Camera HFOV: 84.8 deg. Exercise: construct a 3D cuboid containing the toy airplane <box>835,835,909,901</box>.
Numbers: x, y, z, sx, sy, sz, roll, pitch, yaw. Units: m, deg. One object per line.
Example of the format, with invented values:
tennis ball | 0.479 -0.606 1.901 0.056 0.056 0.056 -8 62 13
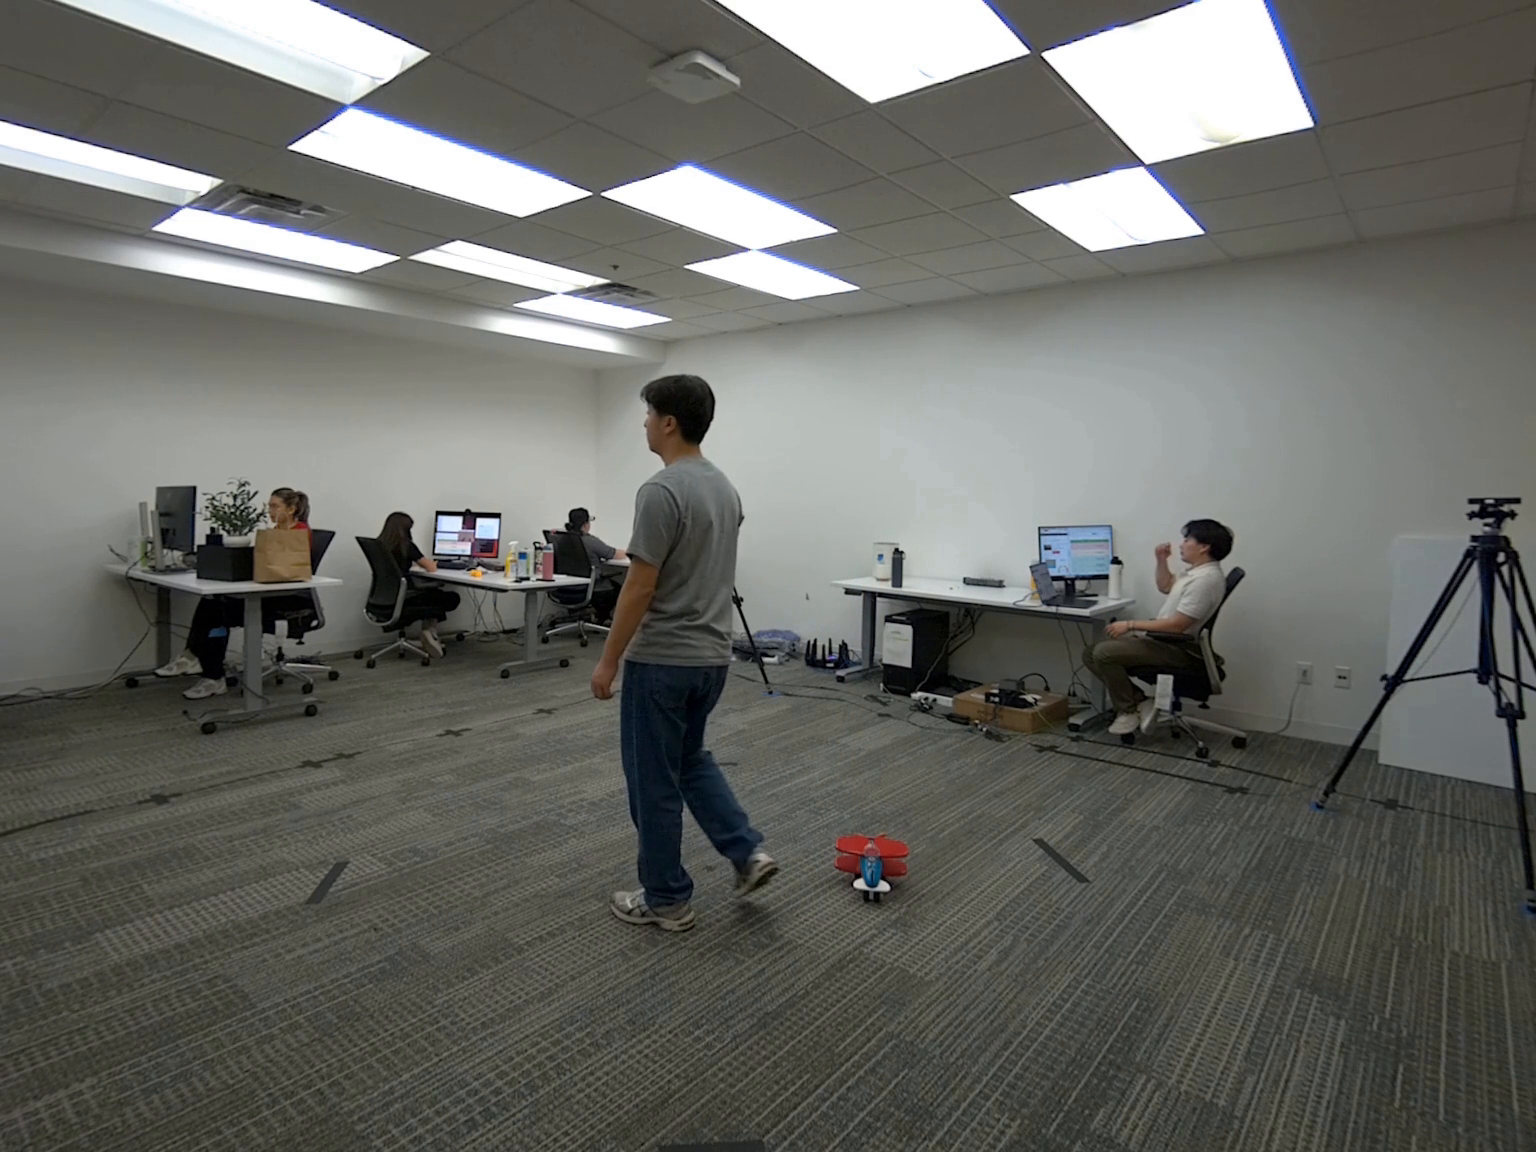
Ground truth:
toy airplane | 0.372 1.018 2.977 0.246 0.156 0.265 -2 5 -21
